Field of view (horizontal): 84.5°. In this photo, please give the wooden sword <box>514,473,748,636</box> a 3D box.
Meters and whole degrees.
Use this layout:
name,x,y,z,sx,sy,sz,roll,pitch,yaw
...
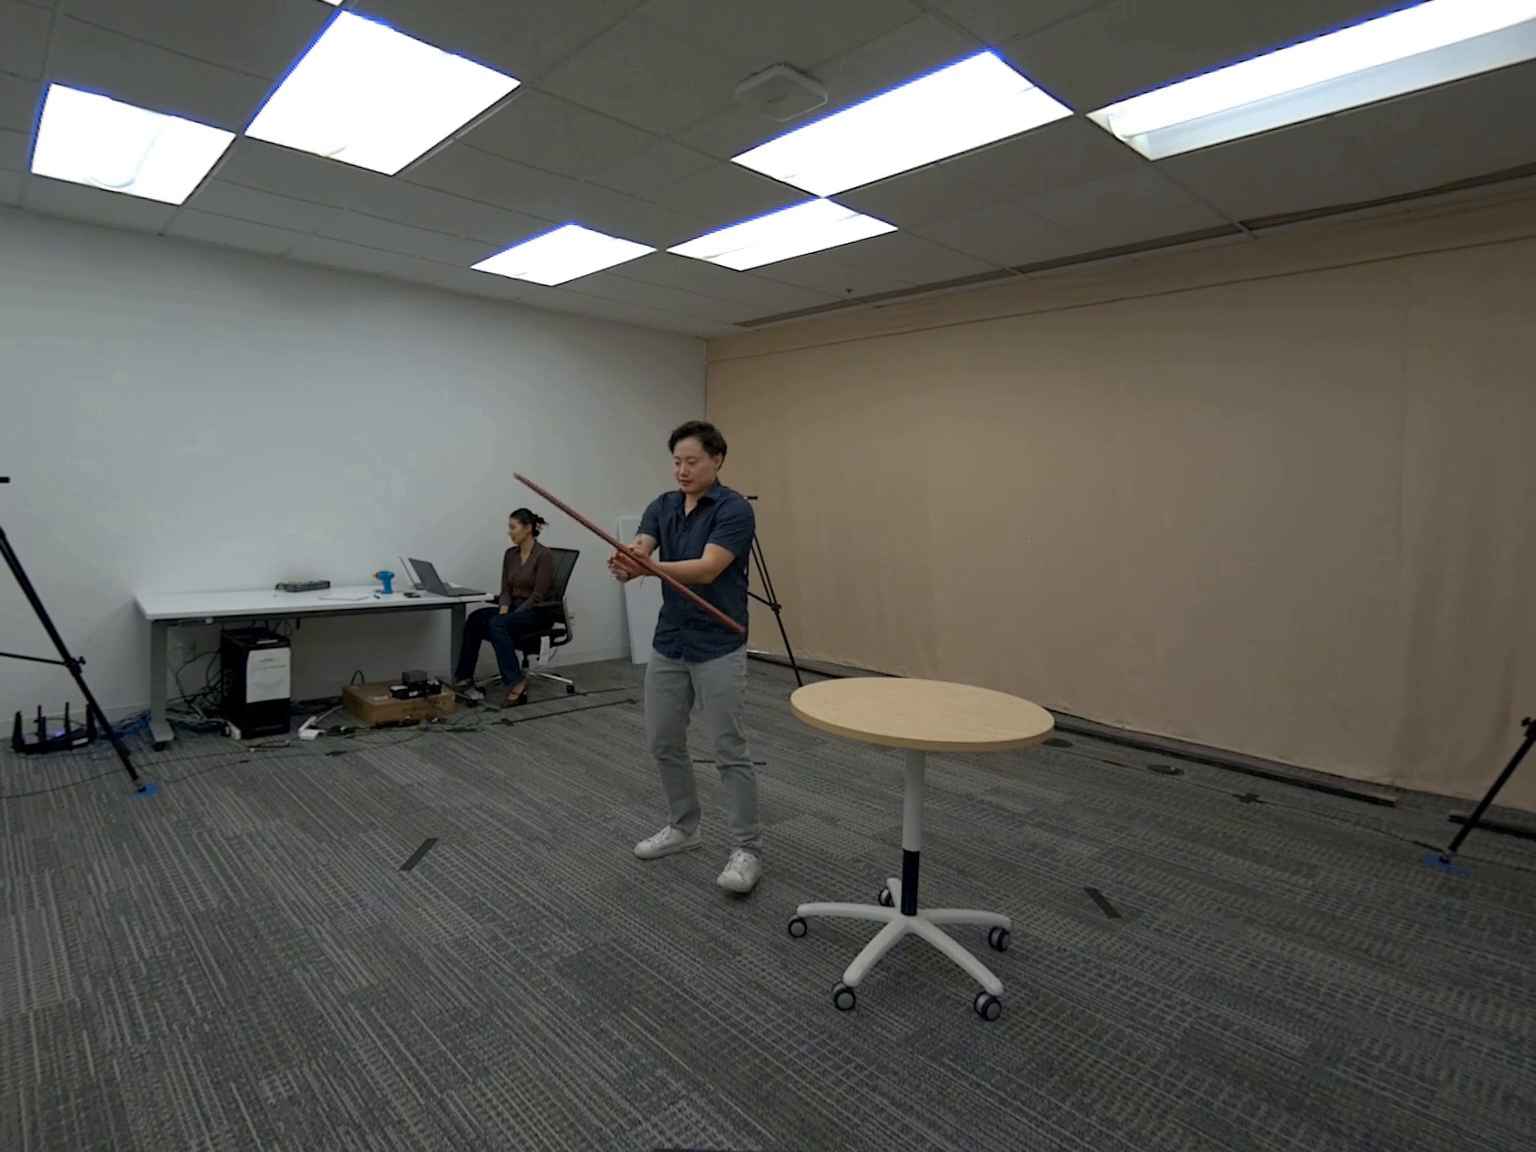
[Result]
name,x,y,z,sx,sy,sz,roll,pitch,yaw
wooden sword,-0.475,-0.086,2.802,1.041,0.024,0.051,34,22,15
